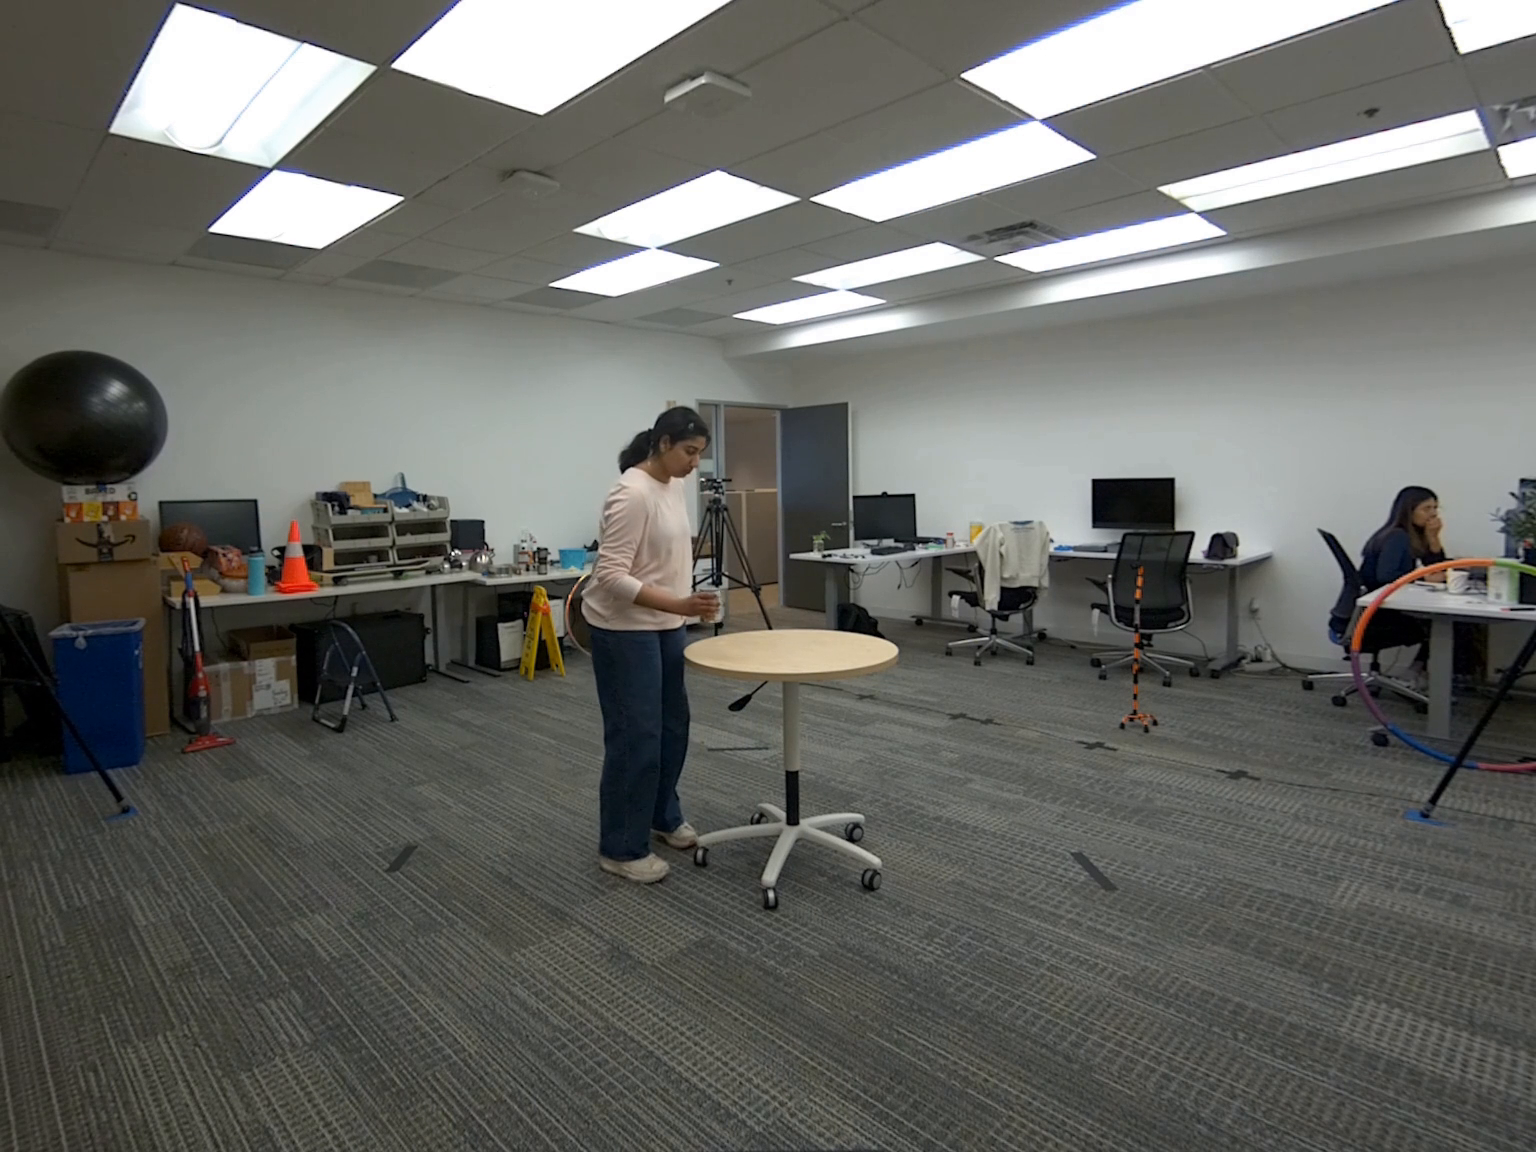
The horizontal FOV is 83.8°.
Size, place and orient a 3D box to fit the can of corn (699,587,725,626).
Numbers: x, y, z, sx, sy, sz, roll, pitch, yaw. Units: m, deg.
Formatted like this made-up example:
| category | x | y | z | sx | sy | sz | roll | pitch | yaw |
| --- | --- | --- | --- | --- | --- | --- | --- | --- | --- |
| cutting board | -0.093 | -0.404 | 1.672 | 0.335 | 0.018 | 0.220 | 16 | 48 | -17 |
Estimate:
| category | x | y | z | sx | sy | sz | roll | pitch | yaw |
| --- | --- | --- | --- | --- | --- | --- | --- | --- | --- |
| can of corn | -0.193 | 0.102 | 2.912 | 0.074 | 0.110 | 0.074 | -6 | 6 | -1 |
